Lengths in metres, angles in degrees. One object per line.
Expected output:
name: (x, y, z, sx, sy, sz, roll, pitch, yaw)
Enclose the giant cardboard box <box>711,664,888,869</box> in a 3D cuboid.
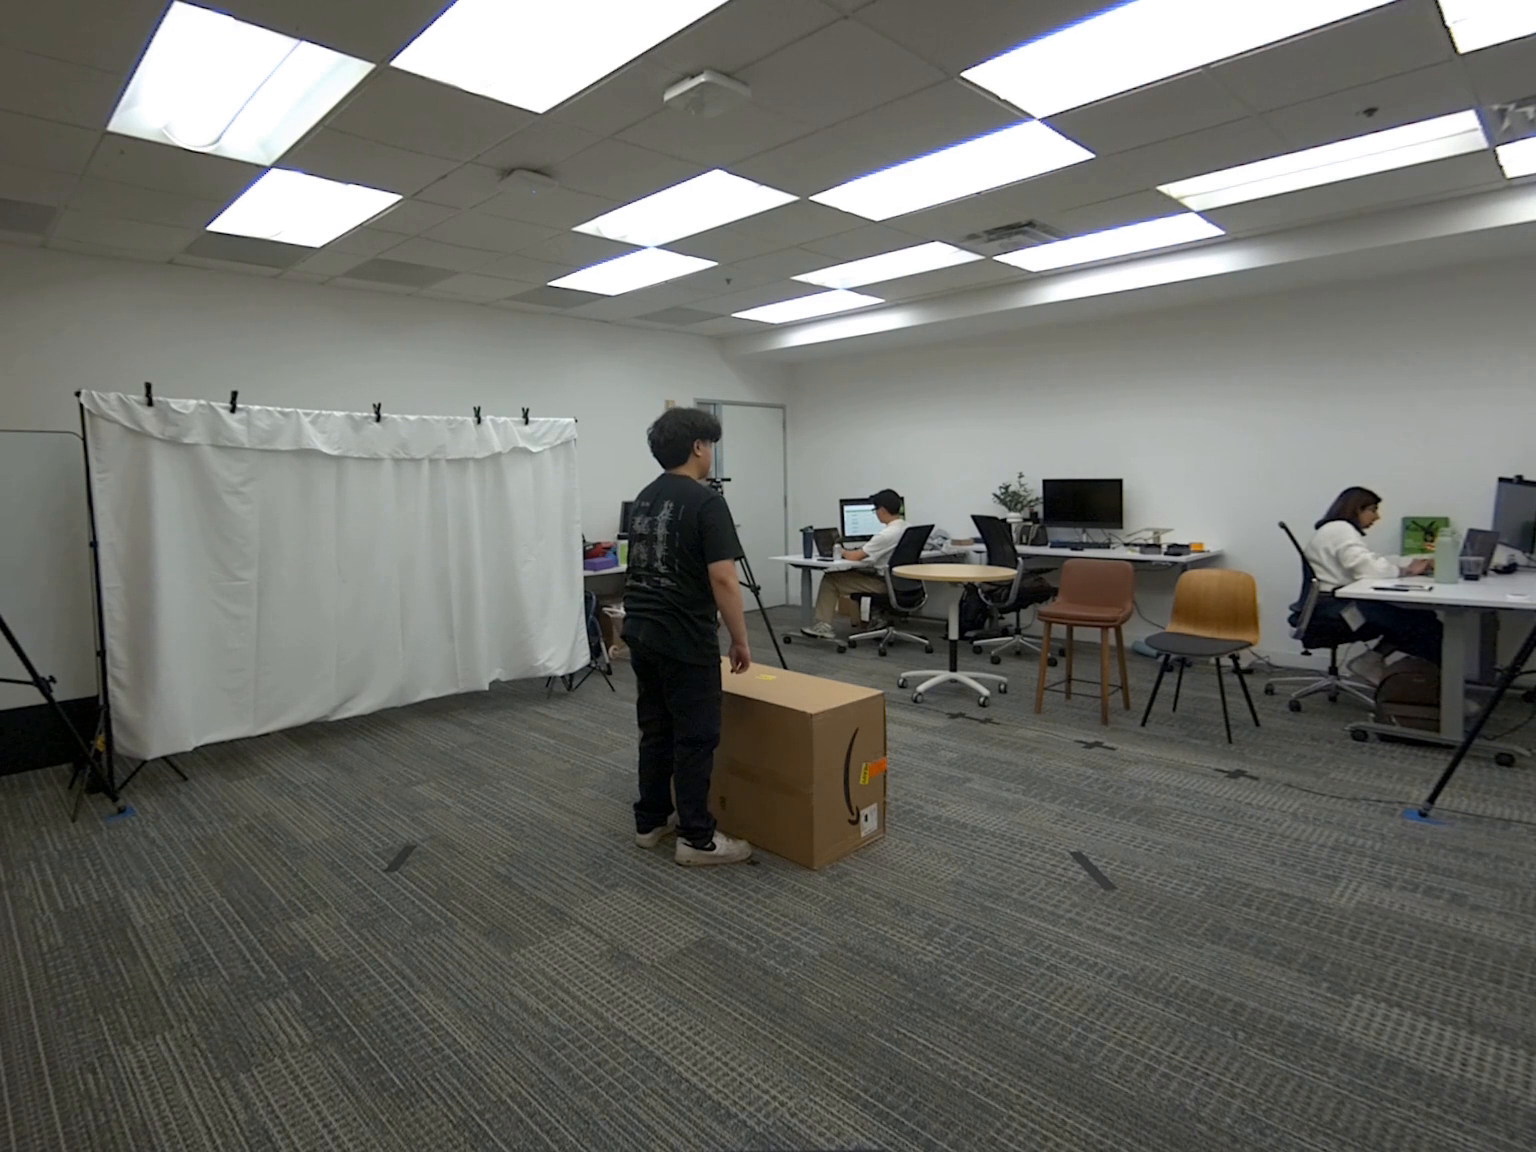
giant cardboard box: (-0.054, 0.710, 3.531, 0.435, 0.582, 1.059, -4, 7, -44)
